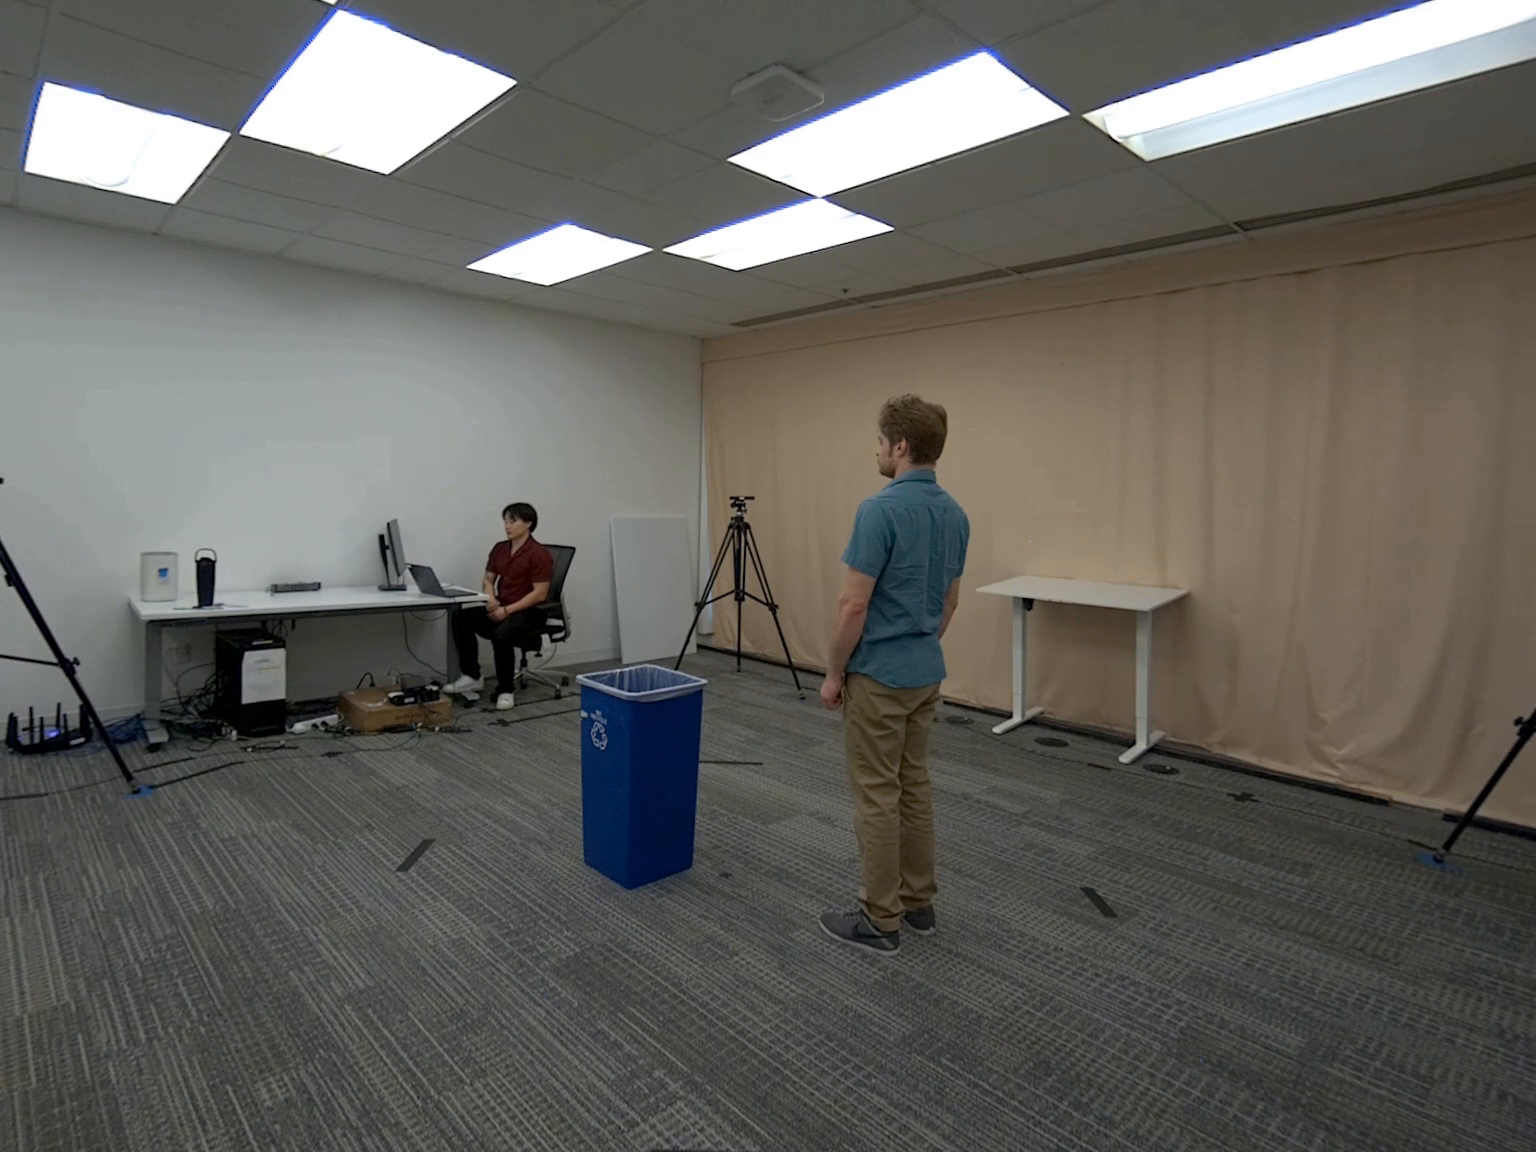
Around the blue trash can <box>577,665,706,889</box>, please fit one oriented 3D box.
[{"bbox_3d":[-0.488,0.736,3.161,0.366,0.711,0.388,-4,7,-45],"label":"blue trash can"}]
